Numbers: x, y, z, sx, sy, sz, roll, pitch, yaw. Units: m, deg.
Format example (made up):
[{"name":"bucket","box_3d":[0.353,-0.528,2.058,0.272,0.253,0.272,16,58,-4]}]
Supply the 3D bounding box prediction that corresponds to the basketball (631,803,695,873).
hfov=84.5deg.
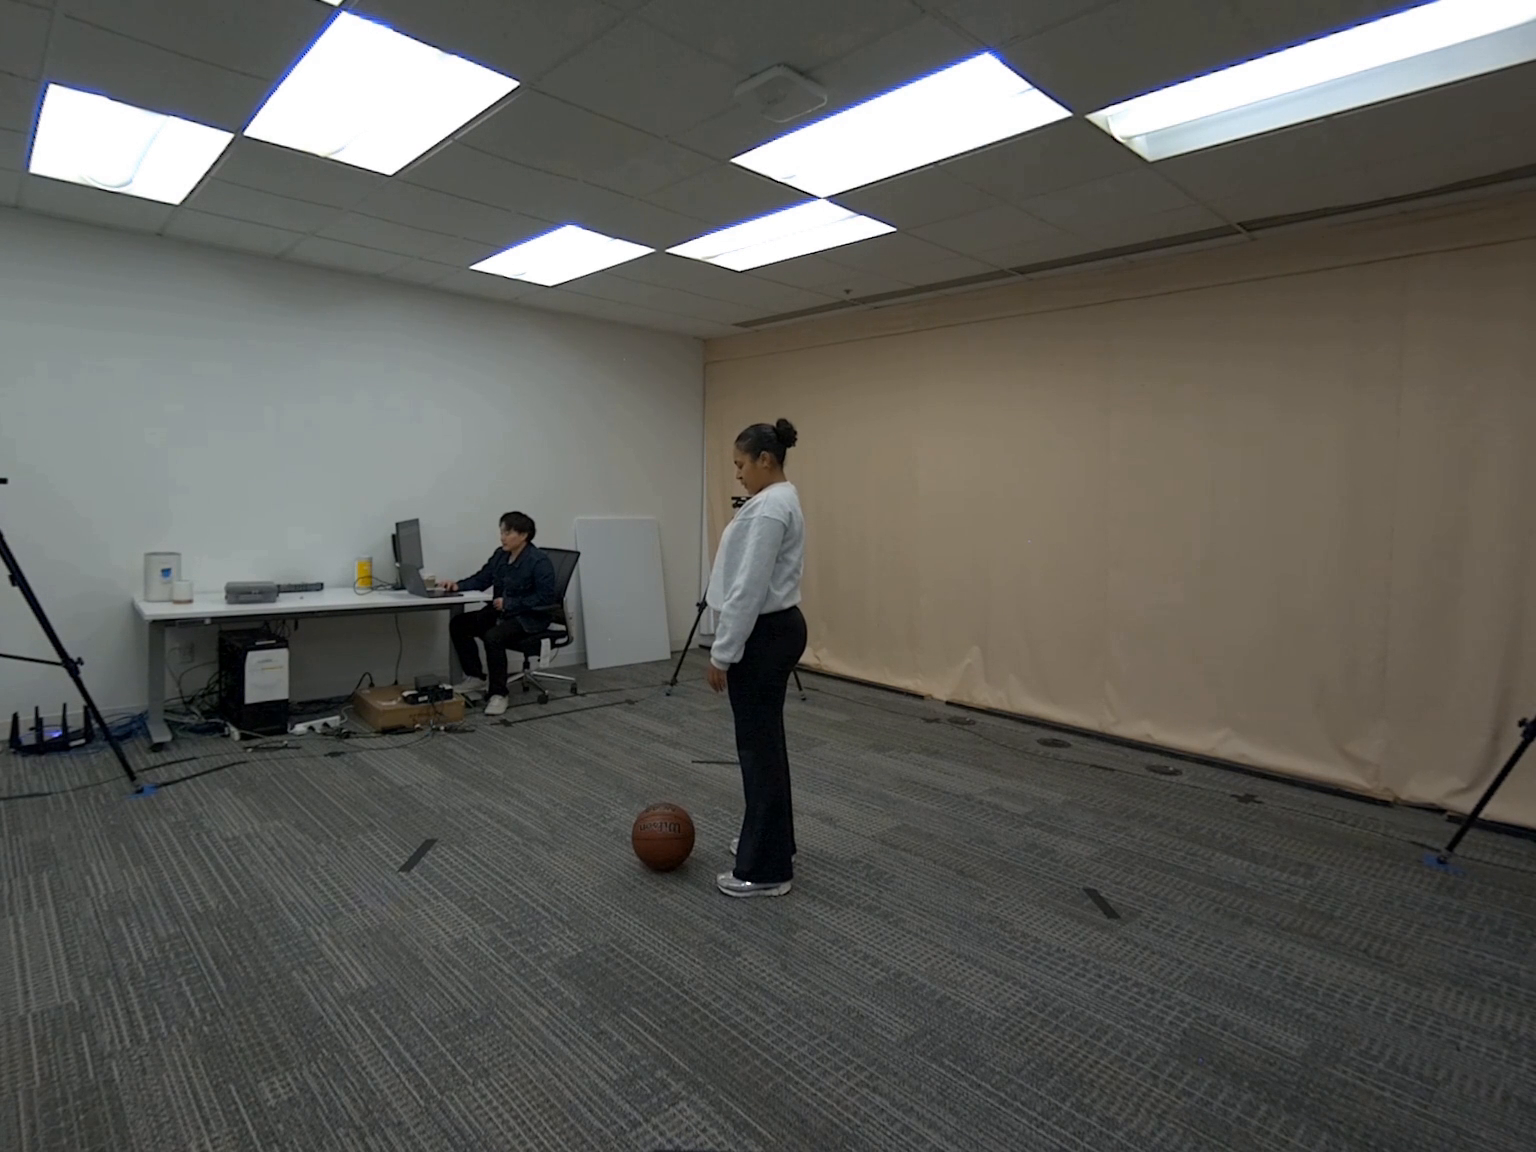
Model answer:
[{"name":"basketball","box_3d":[-0.396,0.970,3.165,0.236,0.235,0.237,1,4,-1]}]
